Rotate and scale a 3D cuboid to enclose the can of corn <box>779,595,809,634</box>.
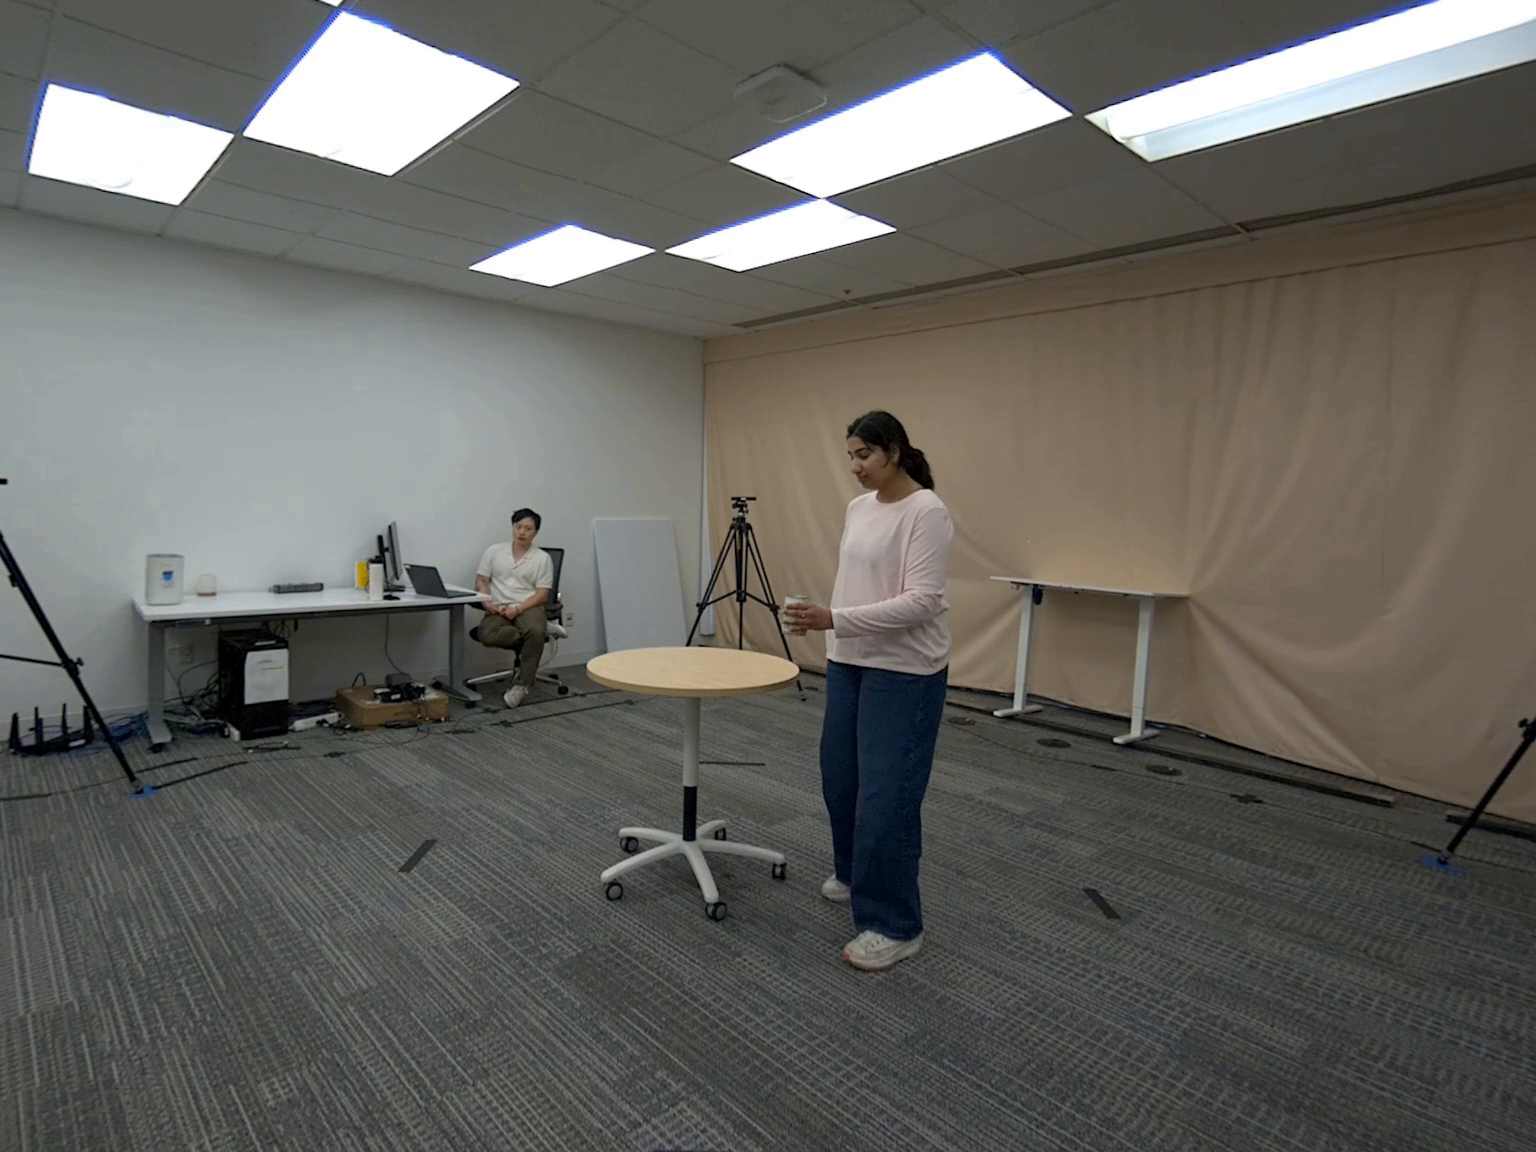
[{"bbox_3d":[0.085,0.118,2.489,0.074,0.111,0.074,6,0,-1],"label":"can of corn"}]
